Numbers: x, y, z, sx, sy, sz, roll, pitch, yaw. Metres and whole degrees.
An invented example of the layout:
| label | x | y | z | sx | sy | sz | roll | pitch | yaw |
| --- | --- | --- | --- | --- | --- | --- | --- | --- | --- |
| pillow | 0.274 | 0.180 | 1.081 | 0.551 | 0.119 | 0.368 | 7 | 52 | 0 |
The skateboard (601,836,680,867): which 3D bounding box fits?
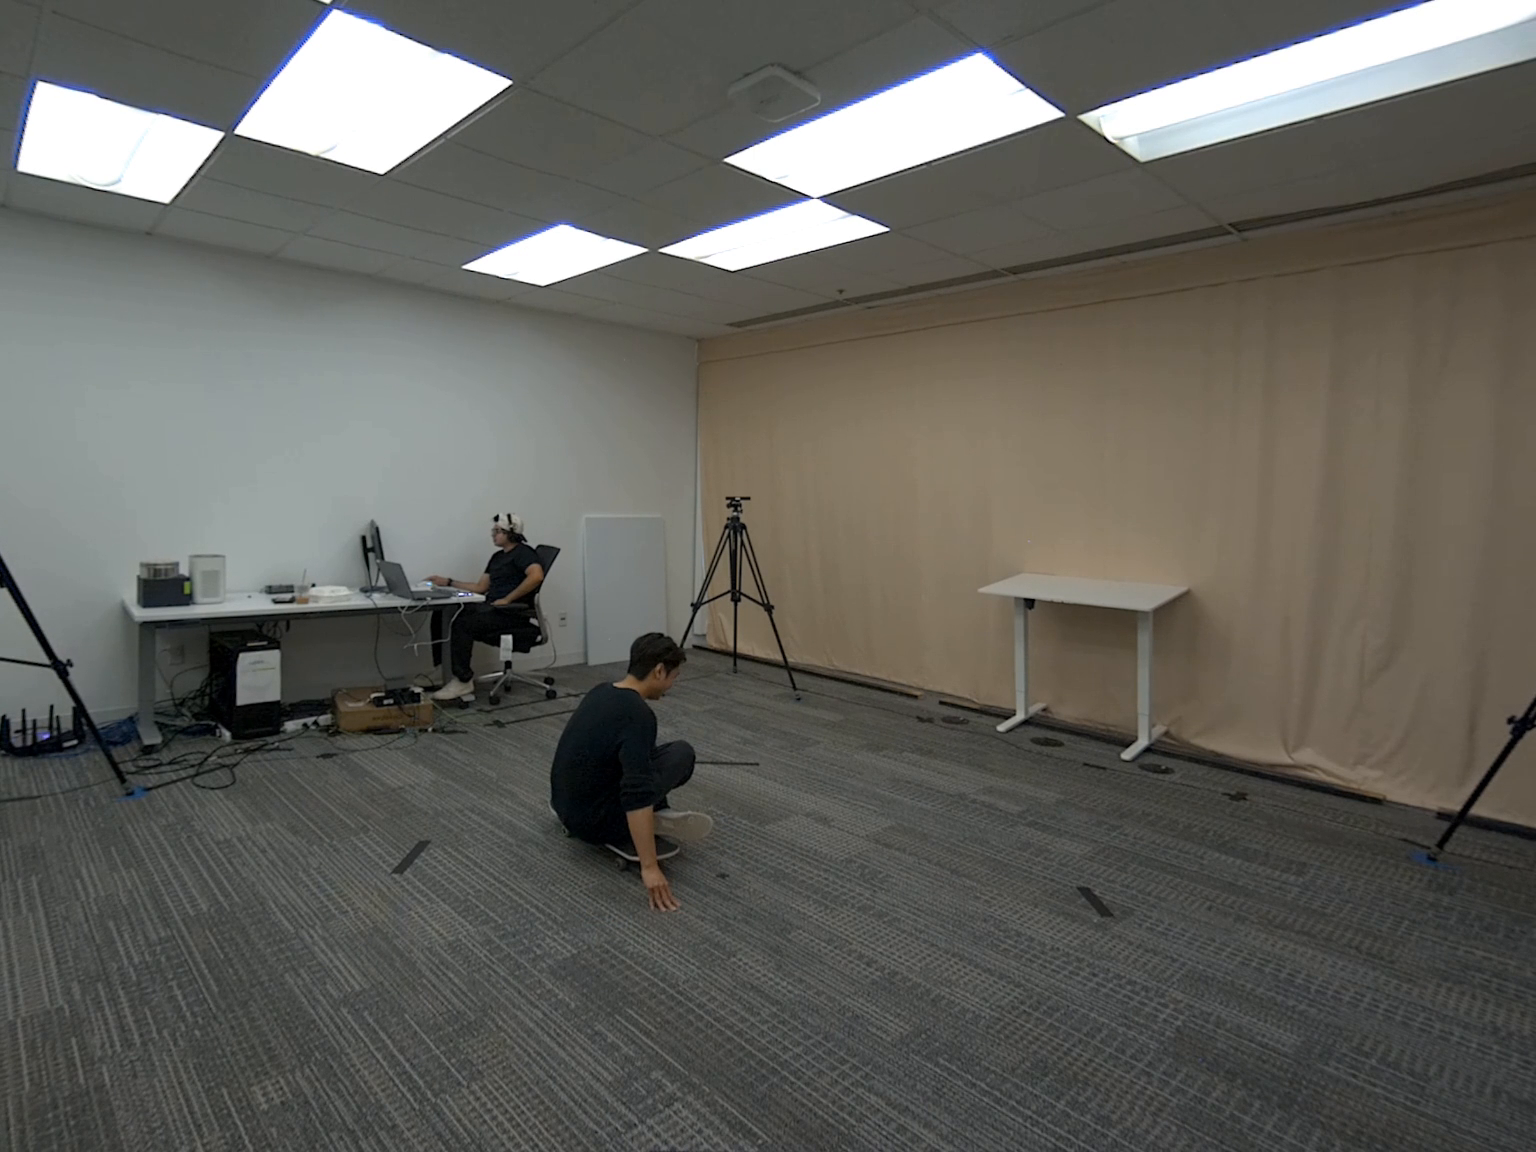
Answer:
| label | x | y | z | sx | sy | sz | roll | pitch | yaw |
| --- | --- | --- | --- | --- | --- | --- | --- | --- | --- |
| skateboard | -0.623 | 1.022 | 3.336 | 0.189 | 0.110 | 0.806 | -3 | 7 | -41 |
